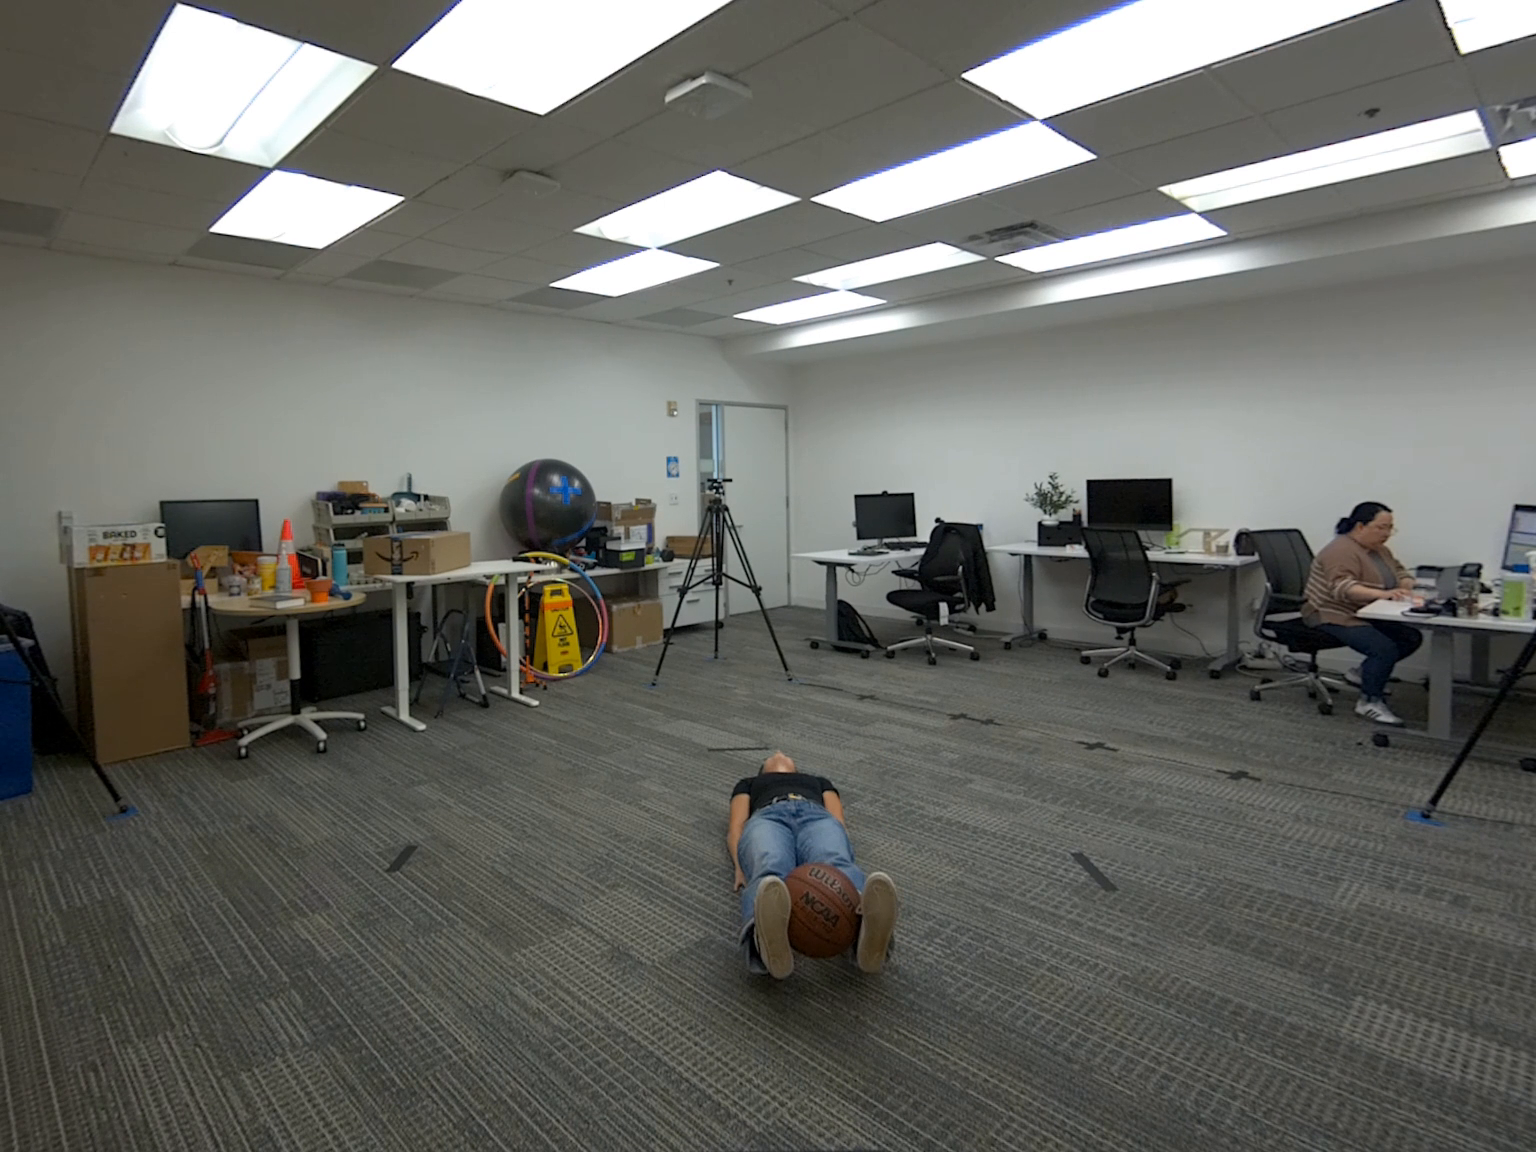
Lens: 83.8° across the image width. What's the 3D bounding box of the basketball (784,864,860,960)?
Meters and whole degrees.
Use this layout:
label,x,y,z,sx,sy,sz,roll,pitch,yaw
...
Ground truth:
label,x,y,z,sx,sy,sz,roll,pitch,yaw
basketball,0.143,0.901,2.323,0.236,0.235,0.237,-1,5,-2
